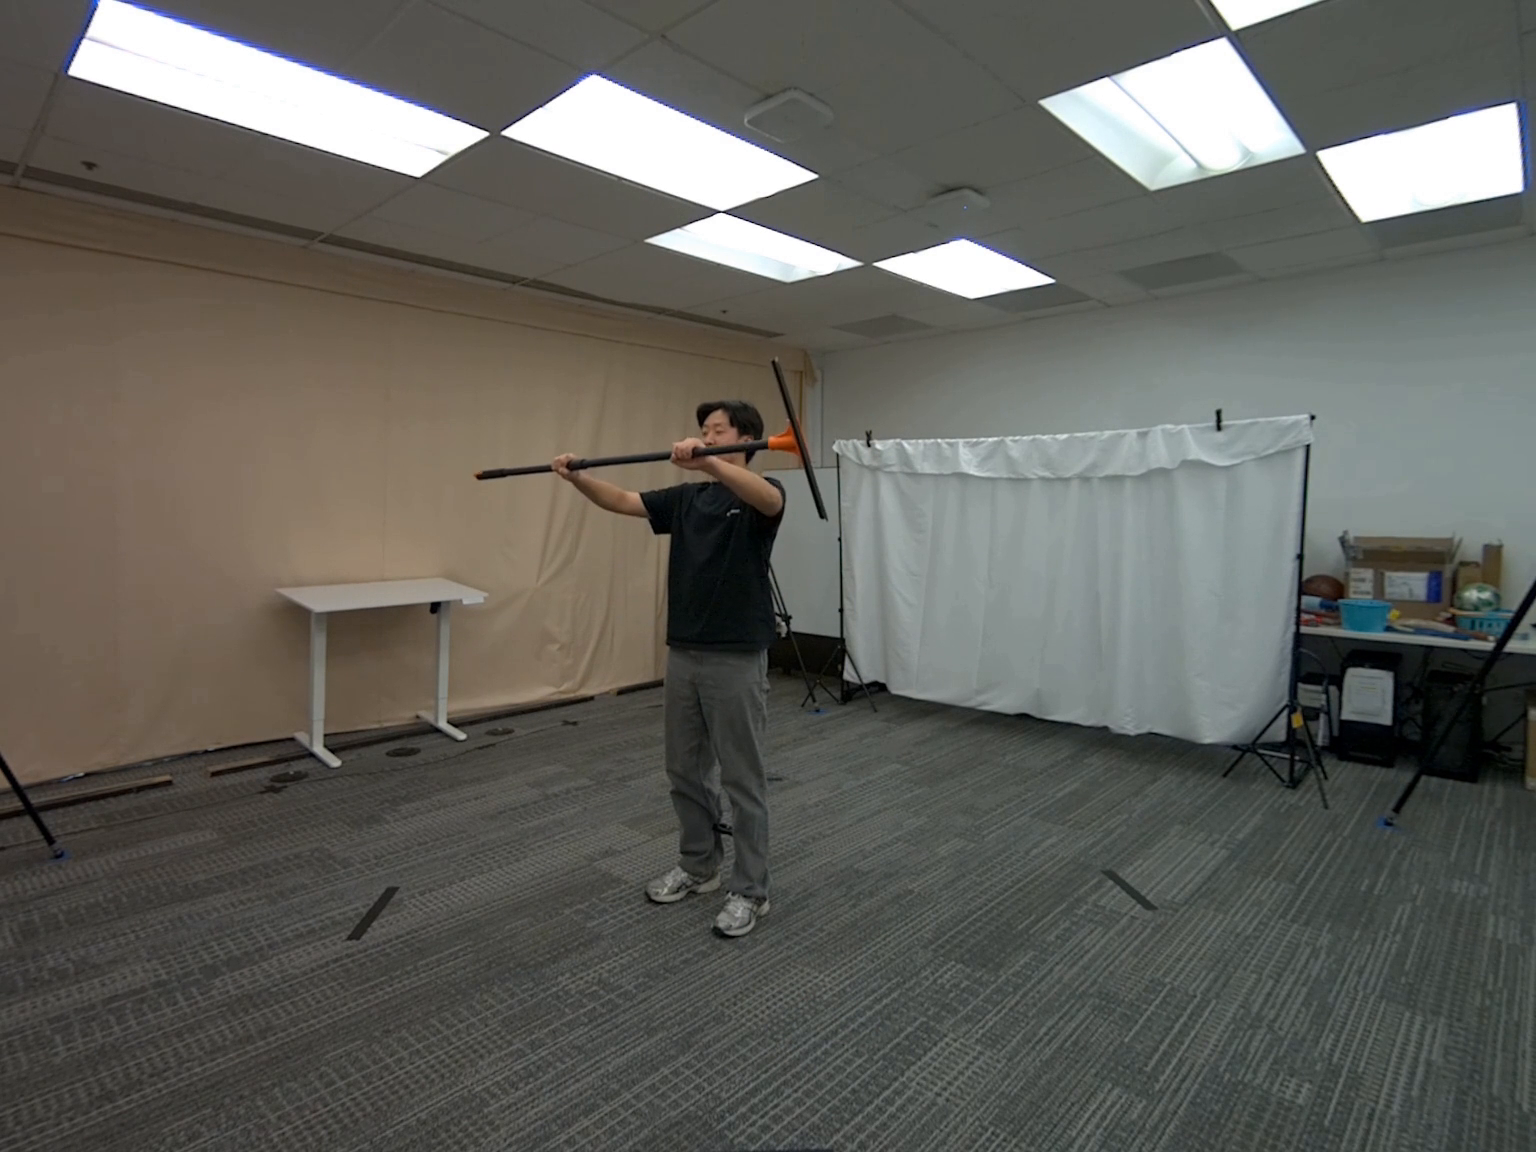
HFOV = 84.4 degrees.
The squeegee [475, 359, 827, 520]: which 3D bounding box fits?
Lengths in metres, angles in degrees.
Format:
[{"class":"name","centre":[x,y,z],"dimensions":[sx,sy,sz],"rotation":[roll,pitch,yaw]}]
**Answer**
[{"class":"squeegee","centre":[-0.501,-0.341,2.620],"dimensions":[1.587,0.429,0.052],"rotation":[1,30,42]}]
